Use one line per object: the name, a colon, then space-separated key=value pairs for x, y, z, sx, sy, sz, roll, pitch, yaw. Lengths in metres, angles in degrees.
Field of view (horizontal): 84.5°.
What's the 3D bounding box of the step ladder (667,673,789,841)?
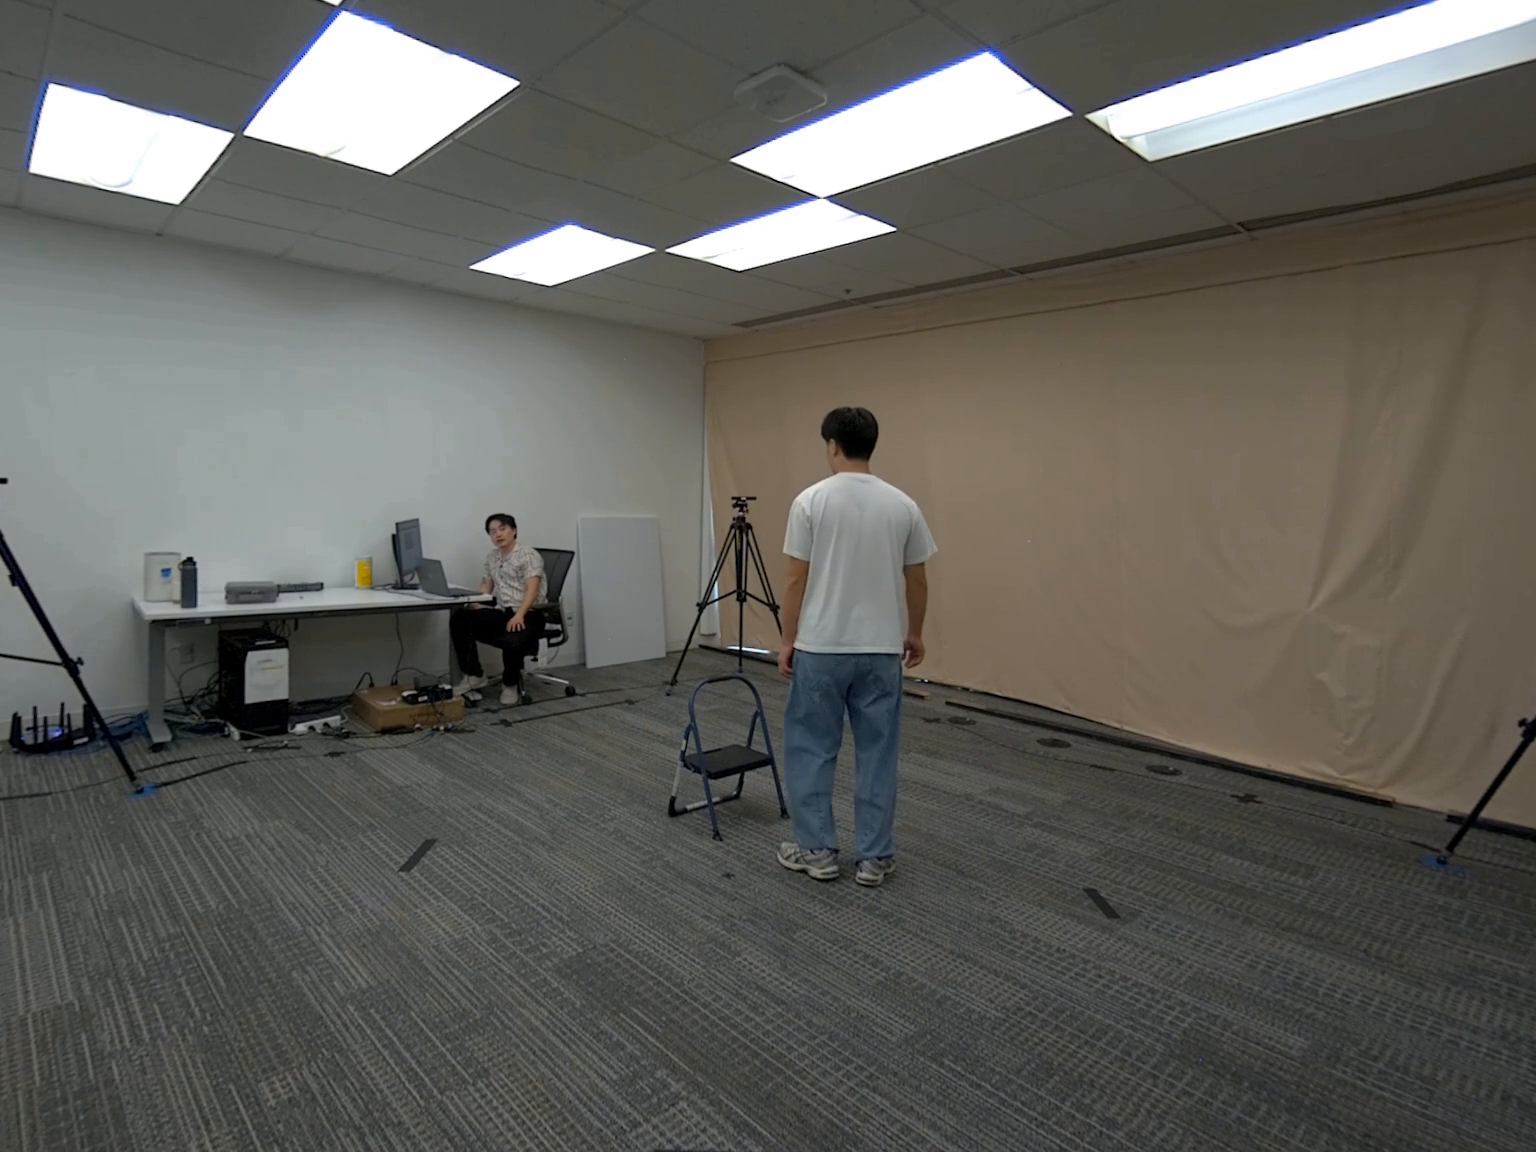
step ladder: x=-0.173 y=0.751 z=3.670 sx=0.421 sy=0.604 sz=0.358 roll=-2 pitch=5 yaw=-44
